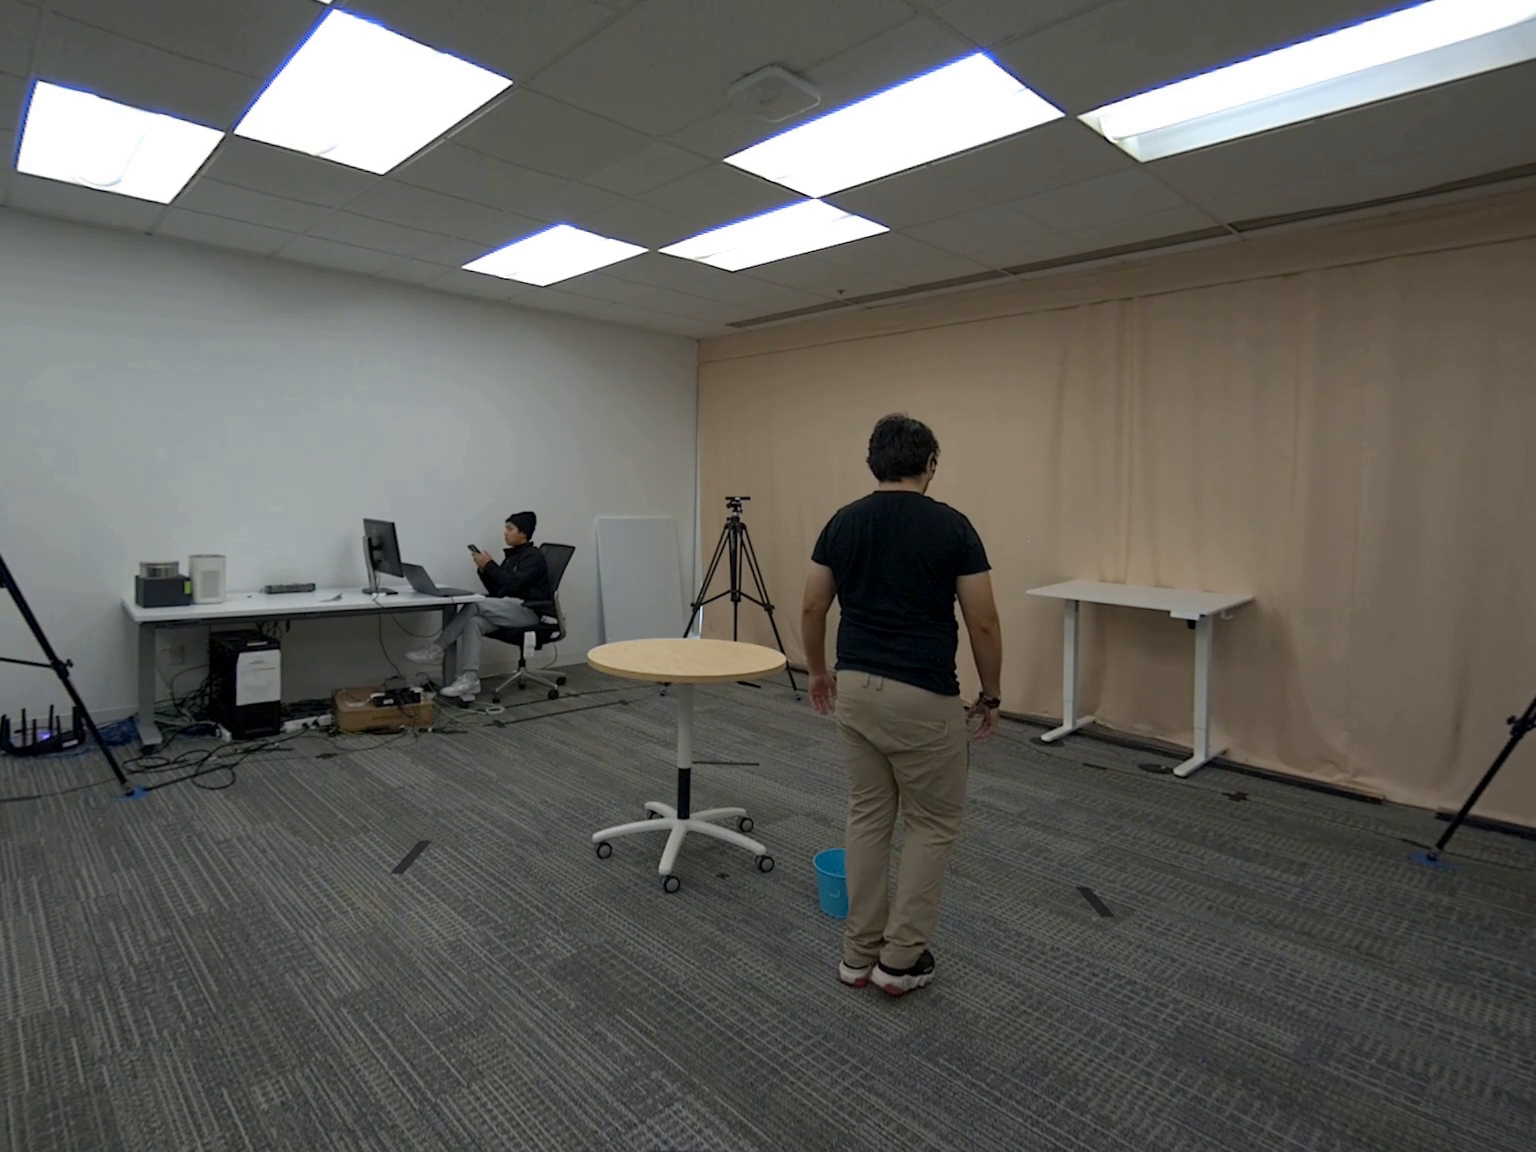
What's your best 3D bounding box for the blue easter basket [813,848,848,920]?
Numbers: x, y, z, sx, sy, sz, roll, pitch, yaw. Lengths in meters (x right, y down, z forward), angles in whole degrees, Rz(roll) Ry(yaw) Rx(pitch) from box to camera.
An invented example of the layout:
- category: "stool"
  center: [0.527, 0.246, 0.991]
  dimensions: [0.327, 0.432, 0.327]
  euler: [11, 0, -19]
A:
- category: "blue easter basket"
  center: [0.269, 1.057, 2.887]
  dimensions: [0.243, 0.155, 0.244]
  euler: [1, 5, -1]
